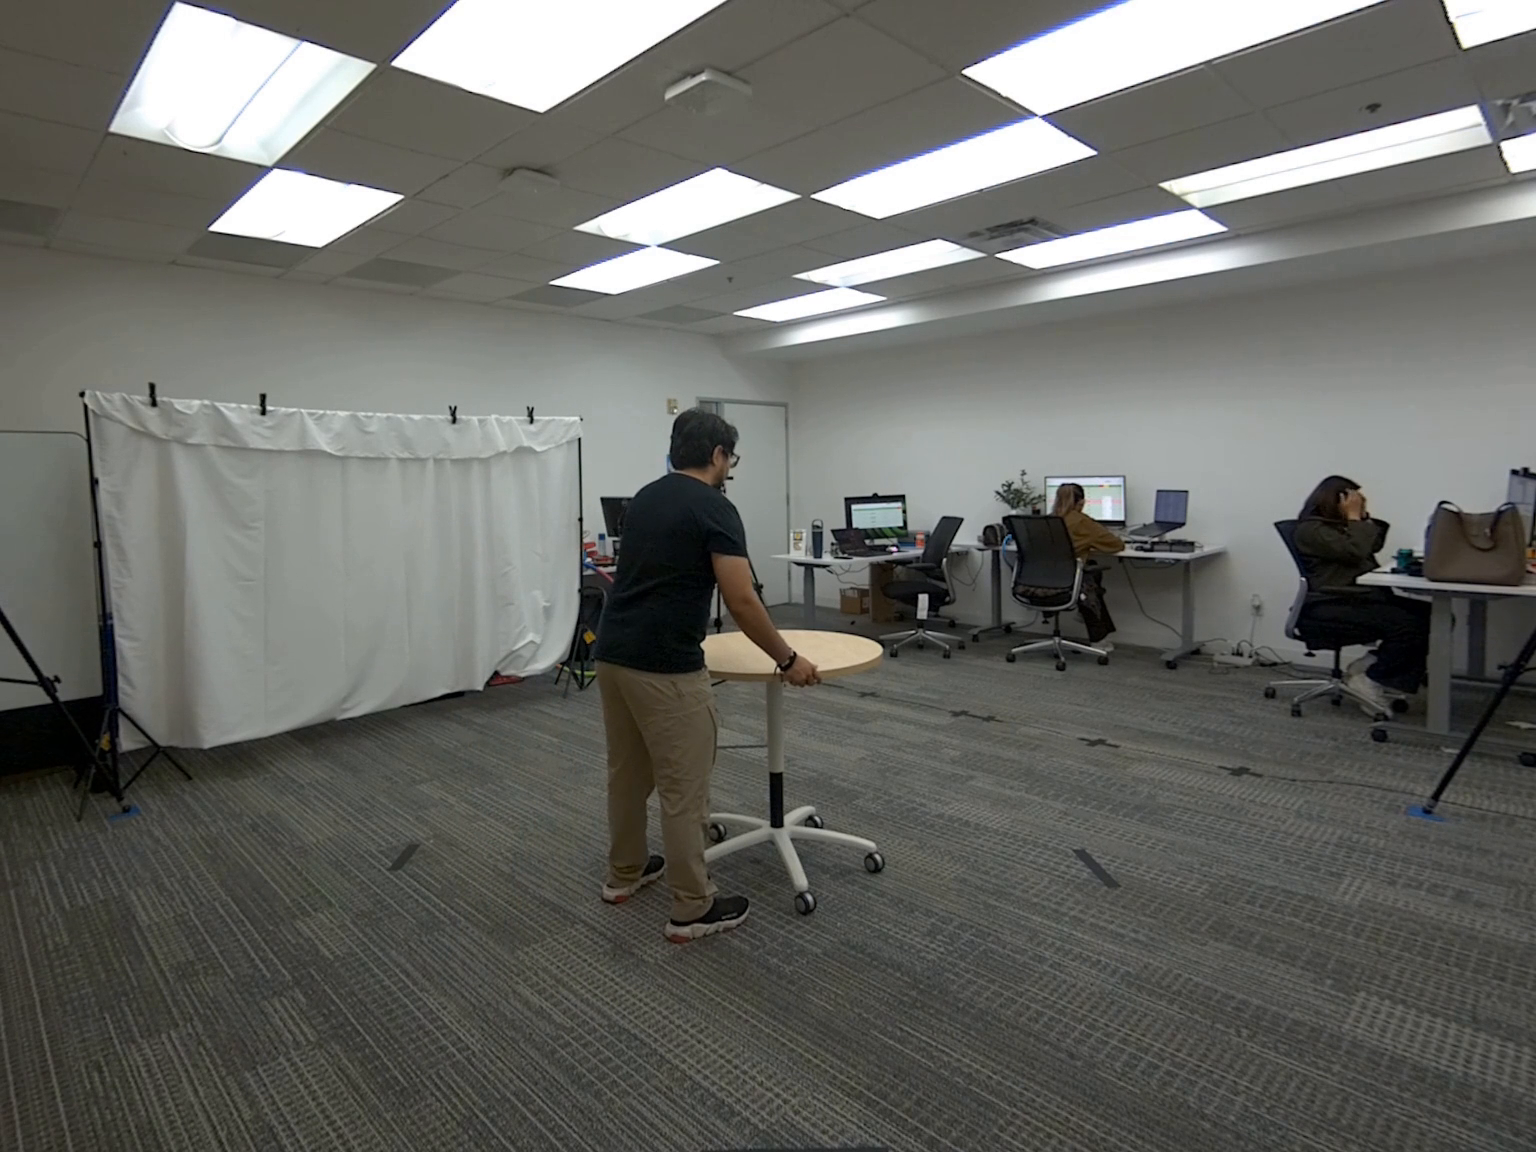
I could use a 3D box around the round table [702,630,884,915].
[{"bbox_3d":[0.025,0.644,3.070,0.784,0.784,0.789,-1,5,-2],"label":"round table"}]
